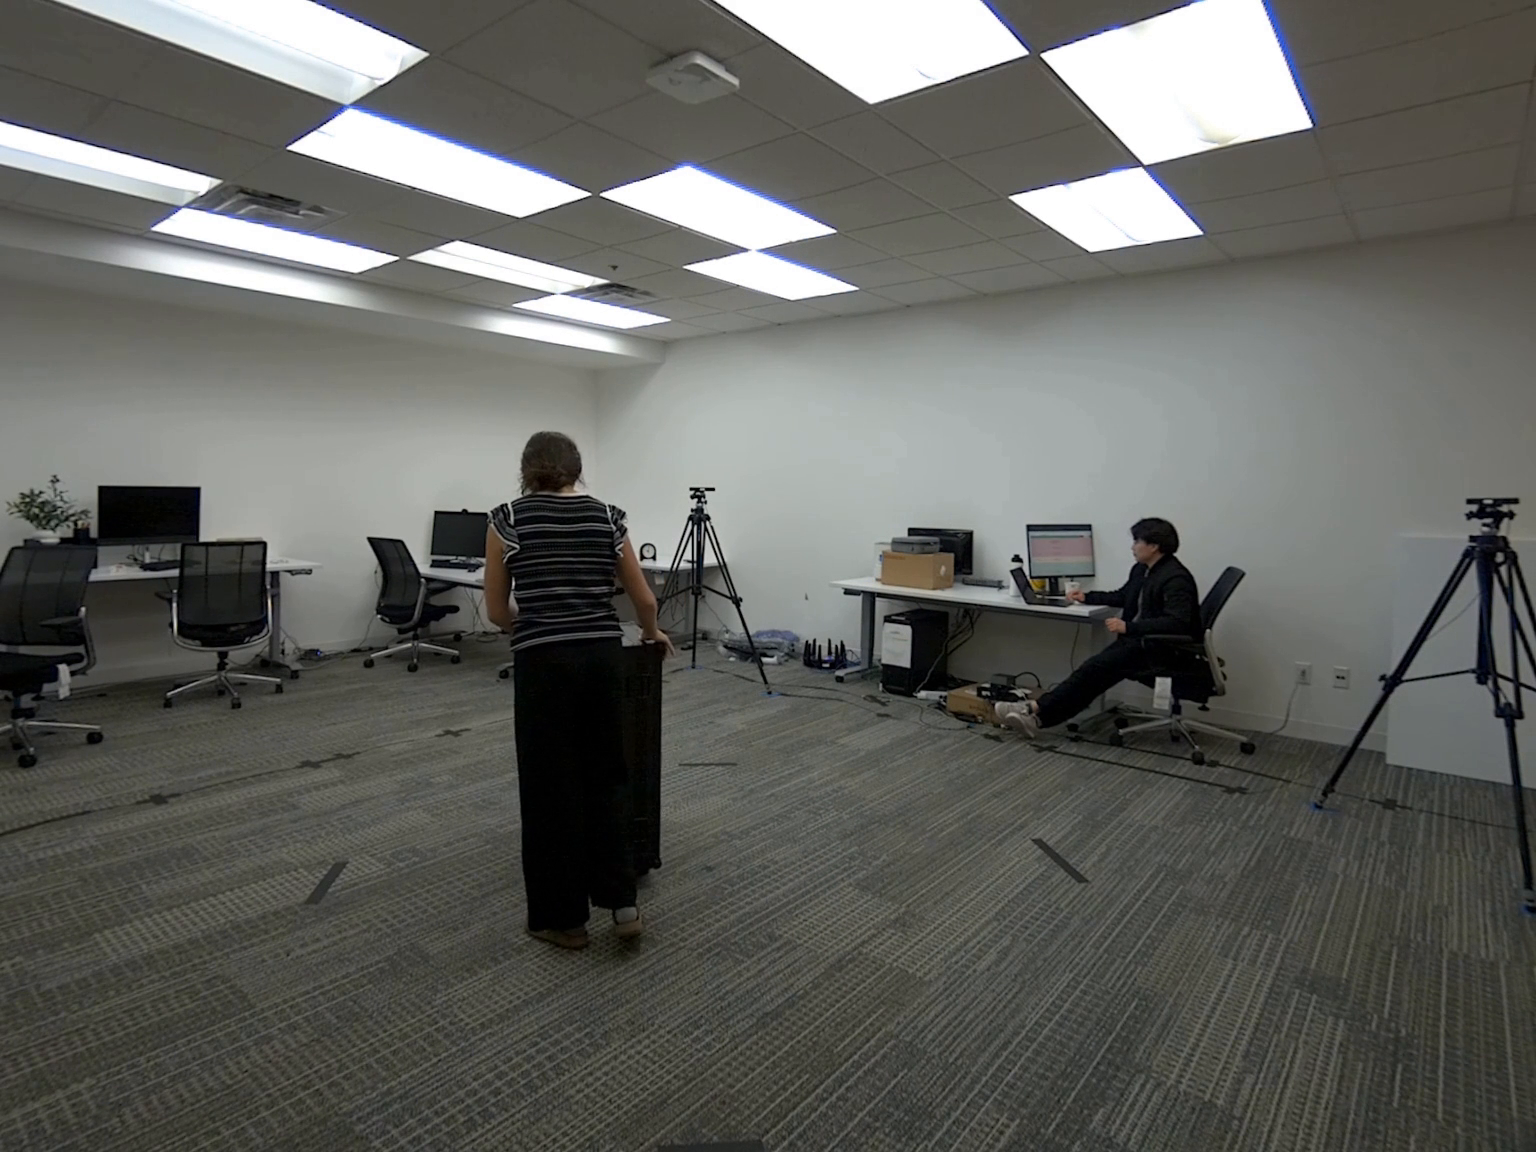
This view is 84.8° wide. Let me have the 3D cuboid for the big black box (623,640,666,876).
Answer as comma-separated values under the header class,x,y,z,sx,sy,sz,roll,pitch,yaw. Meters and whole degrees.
class,x,y,z,sx,sy,sz,roll,pitch,yaw
big black box,-0.629,0.633,3.095,0.389,0.859,0.533,-1,4,-20
